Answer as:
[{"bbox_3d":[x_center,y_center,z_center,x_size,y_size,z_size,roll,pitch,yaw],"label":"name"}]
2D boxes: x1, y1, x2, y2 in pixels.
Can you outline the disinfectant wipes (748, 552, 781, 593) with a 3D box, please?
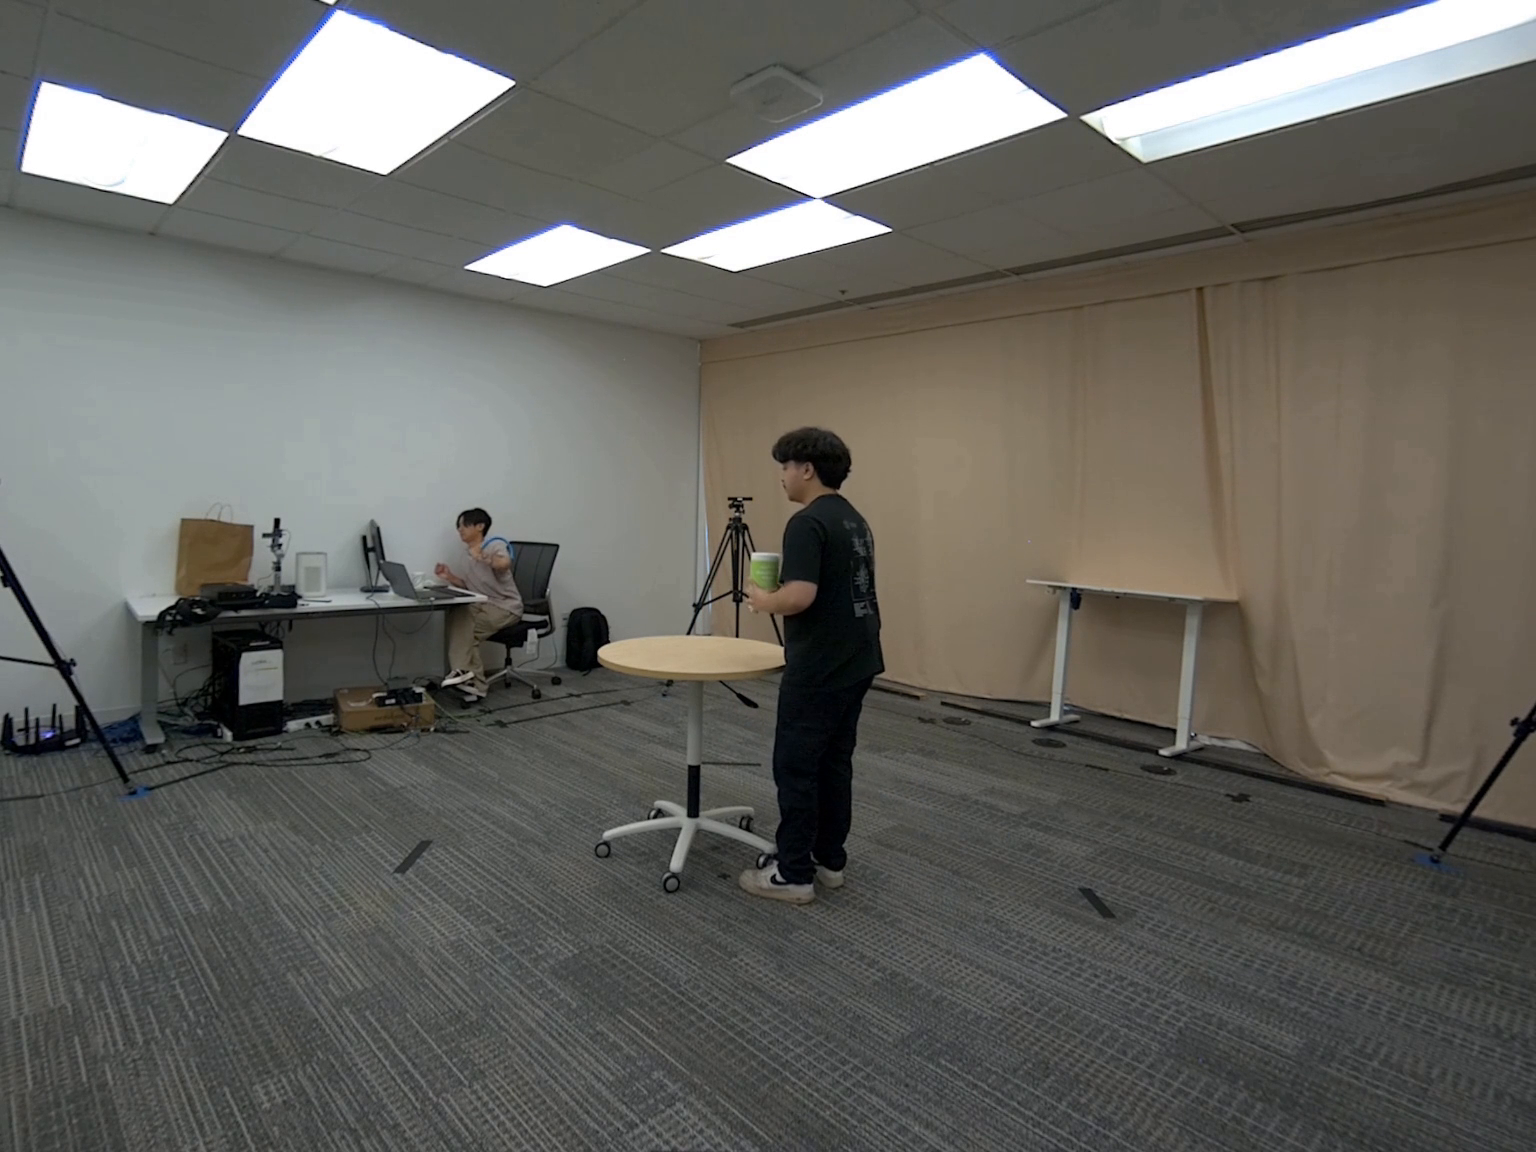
[{"bbox_3d":[-0.016,0.020,3.155,0.118,0.217,0.118,1,3,-1],"label":"disinfectant wipes"}]
